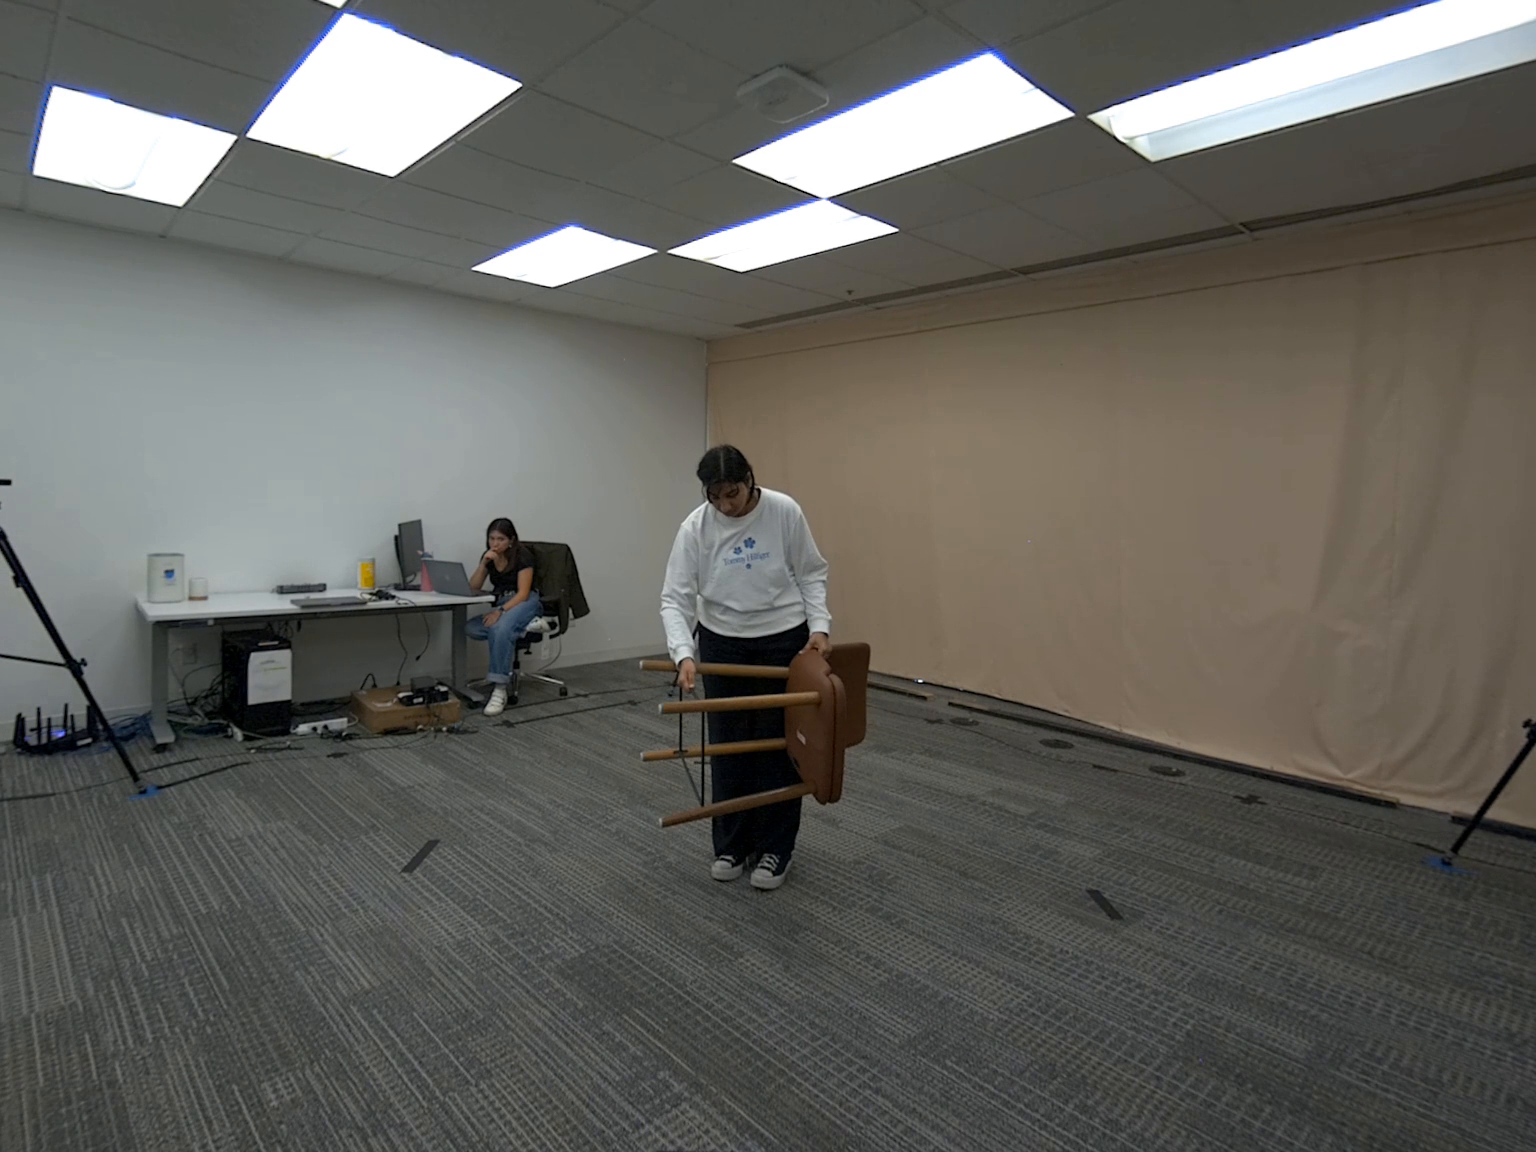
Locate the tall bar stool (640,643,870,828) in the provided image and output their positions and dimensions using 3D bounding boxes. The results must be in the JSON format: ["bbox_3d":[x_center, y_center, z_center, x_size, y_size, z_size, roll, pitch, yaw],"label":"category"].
[{"bbox_3d":[0.014,0.514,2.884,0.879,0.452,0.477,-3,13,-17],"label":"tall bar stool"}]
